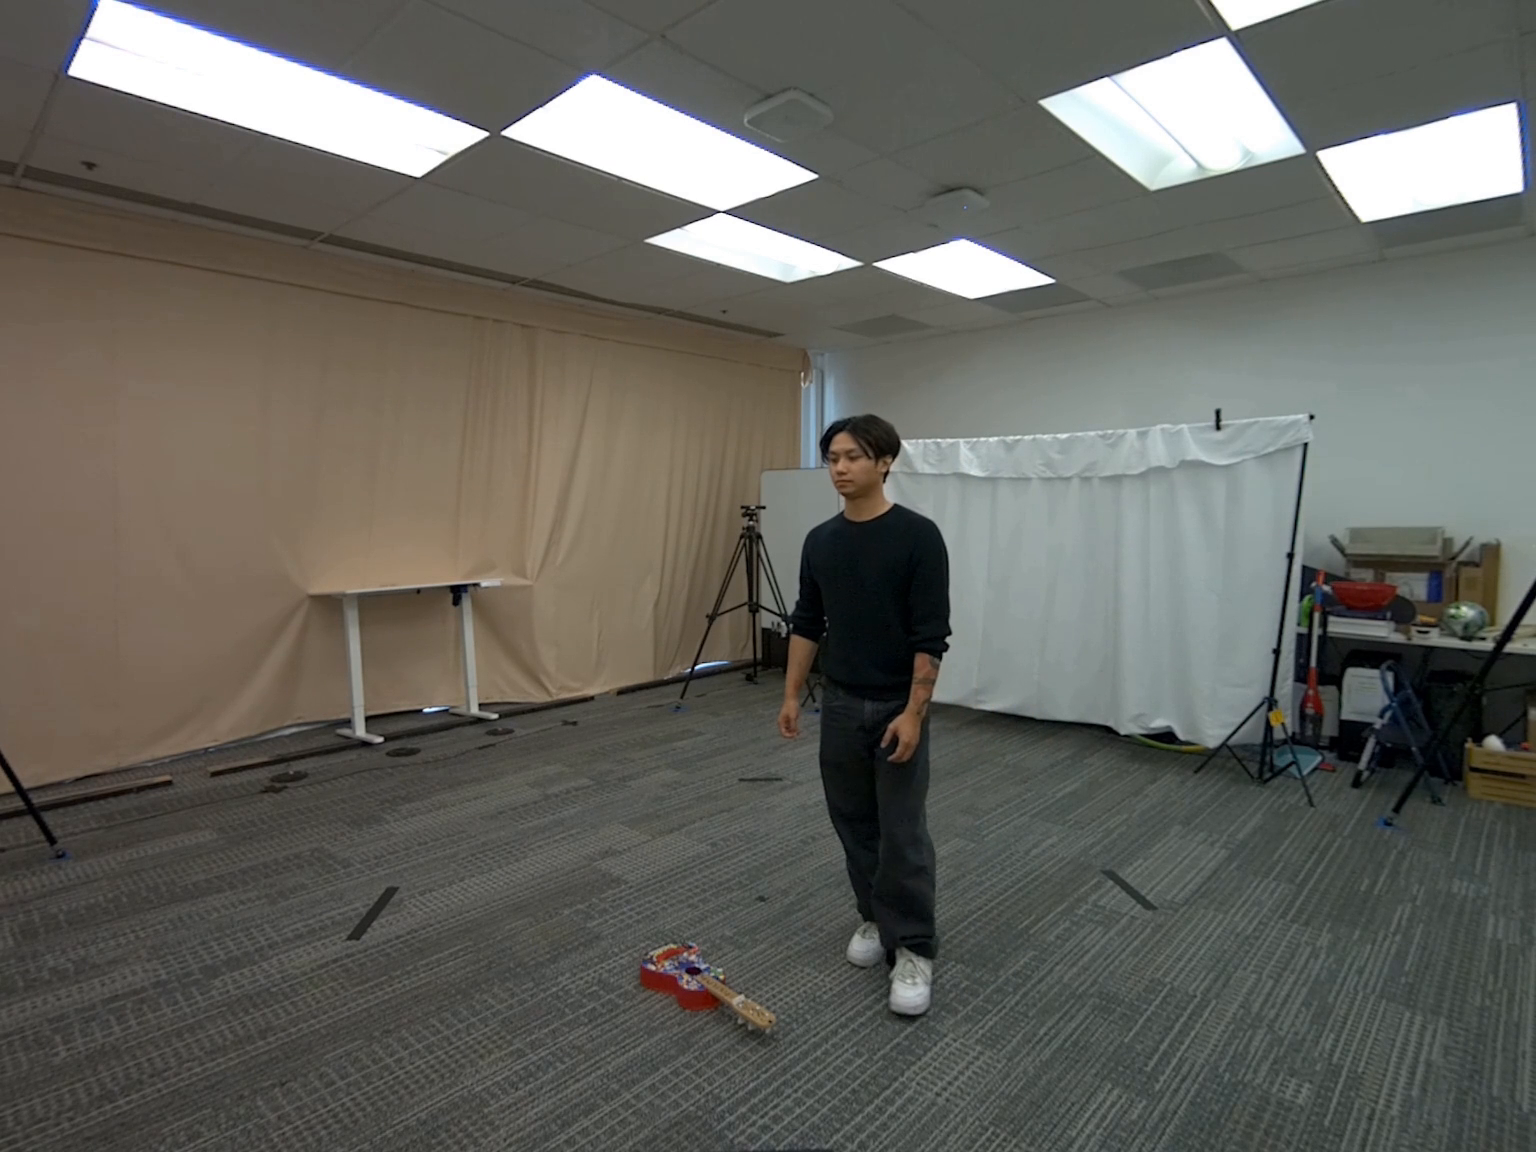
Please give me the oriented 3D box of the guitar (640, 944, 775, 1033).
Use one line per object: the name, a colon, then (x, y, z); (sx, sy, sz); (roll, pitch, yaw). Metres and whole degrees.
guitar: (-0.182, 1.172, 2.340); (0.187, 0.070, 0.513); (-3, 5, -33)
